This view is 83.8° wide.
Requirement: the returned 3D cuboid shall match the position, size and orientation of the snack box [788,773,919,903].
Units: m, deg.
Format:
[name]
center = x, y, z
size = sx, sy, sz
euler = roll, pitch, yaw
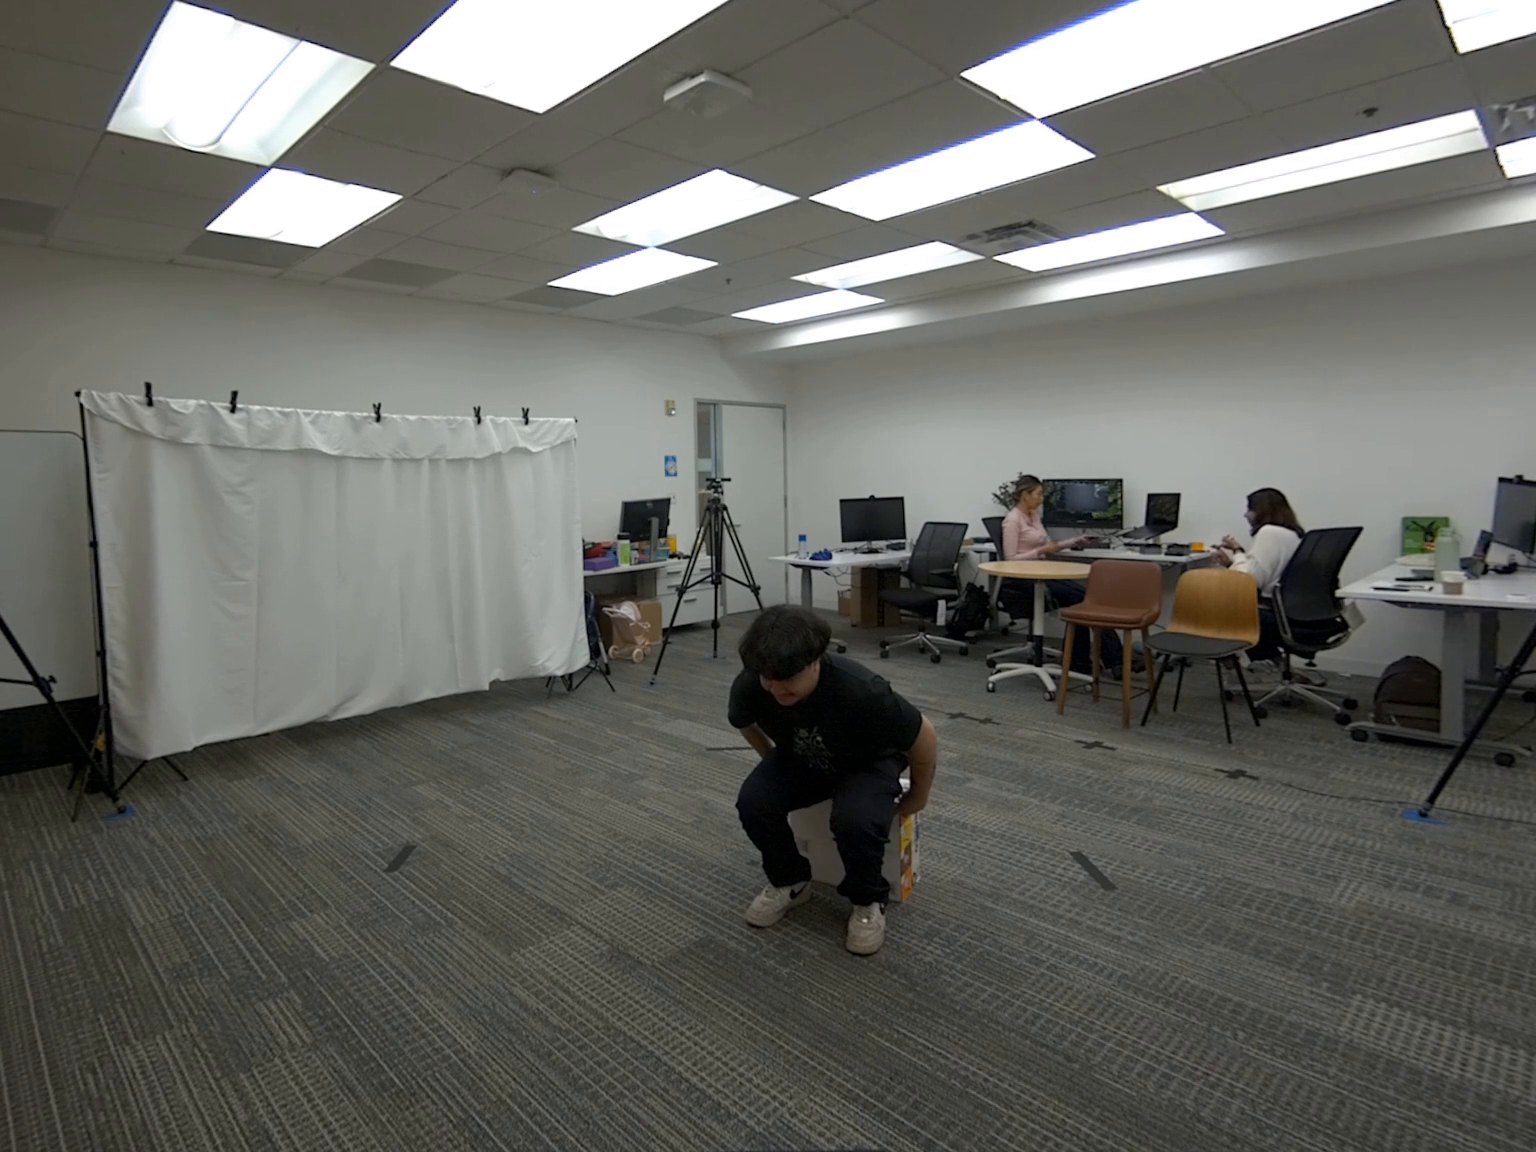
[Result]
[snack box]
center = 0.305, 0.887, 2.974
size = 0.415, 0.340, 0.201
euler = 0, 1, 29
